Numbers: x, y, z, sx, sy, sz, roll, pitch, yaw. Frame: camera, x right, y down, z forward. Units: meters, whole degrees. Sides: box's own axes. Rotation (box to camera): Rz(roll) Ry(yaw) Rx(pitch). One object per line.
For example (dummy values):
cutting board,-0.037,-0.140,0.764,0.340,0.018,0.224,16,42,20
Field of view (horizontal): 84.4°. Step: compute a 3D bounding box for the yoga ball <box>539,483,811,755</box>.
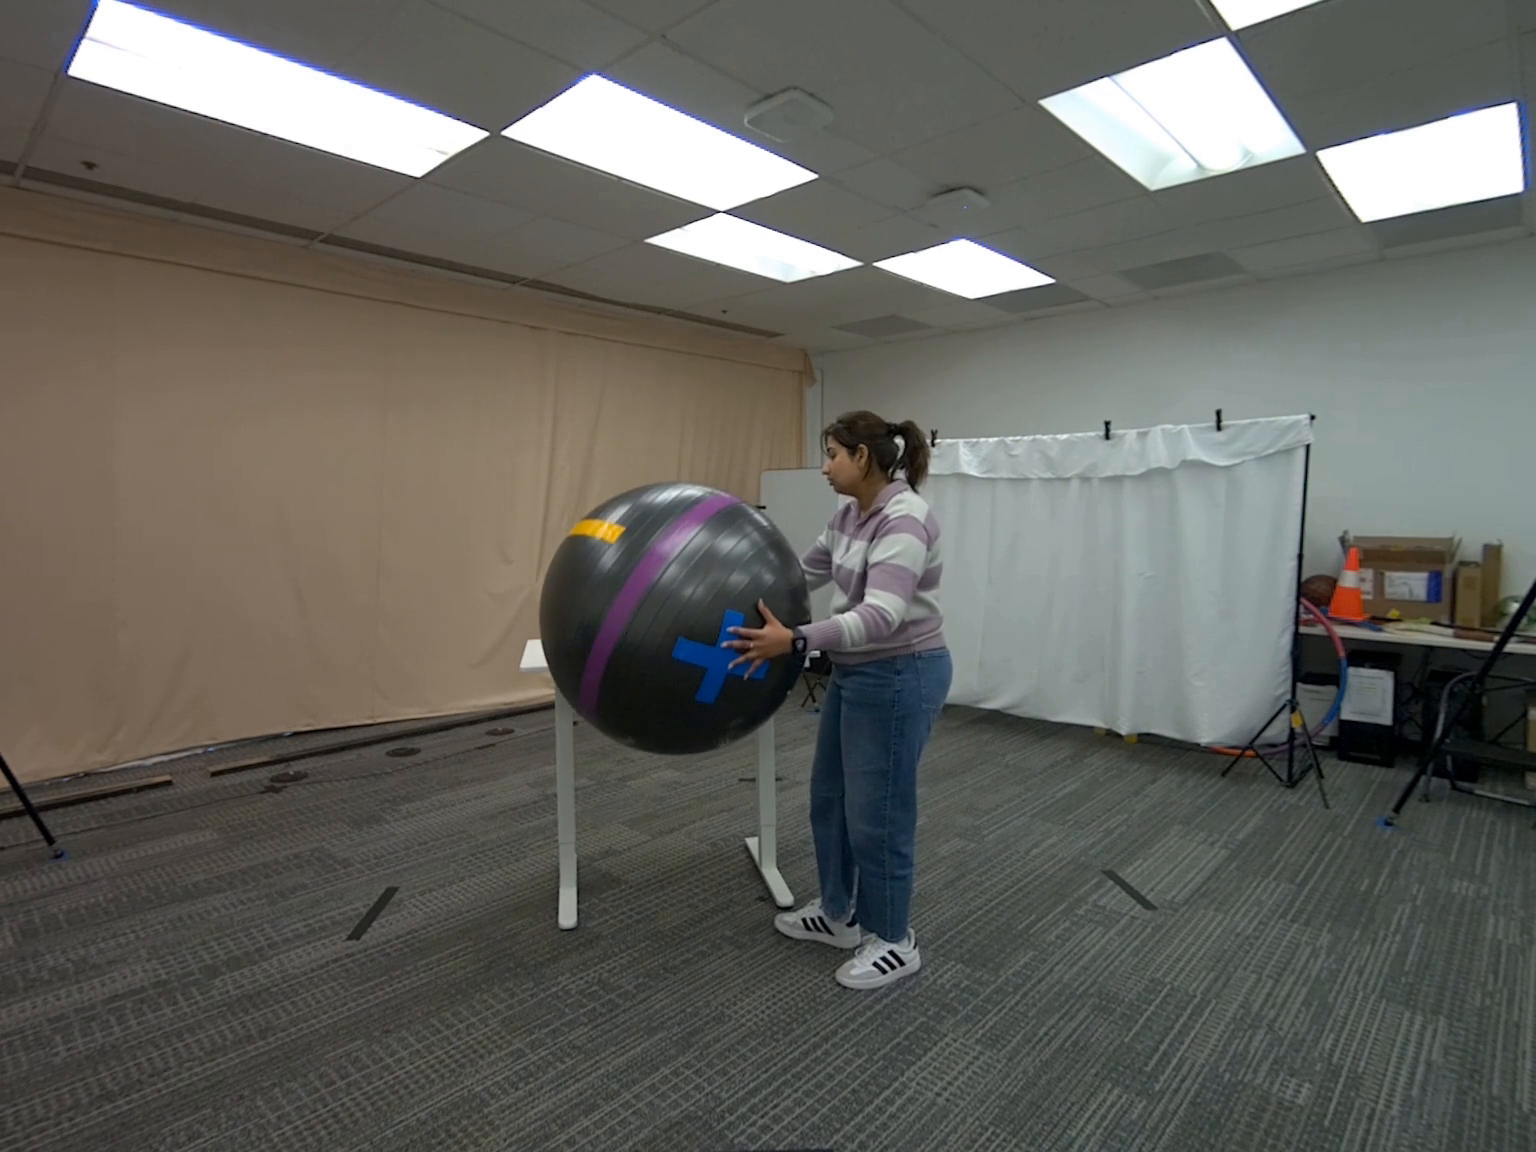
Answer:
yoga ball,-0.255,0.117,2.352,0.757,0.756,0.760,0,4,-2
